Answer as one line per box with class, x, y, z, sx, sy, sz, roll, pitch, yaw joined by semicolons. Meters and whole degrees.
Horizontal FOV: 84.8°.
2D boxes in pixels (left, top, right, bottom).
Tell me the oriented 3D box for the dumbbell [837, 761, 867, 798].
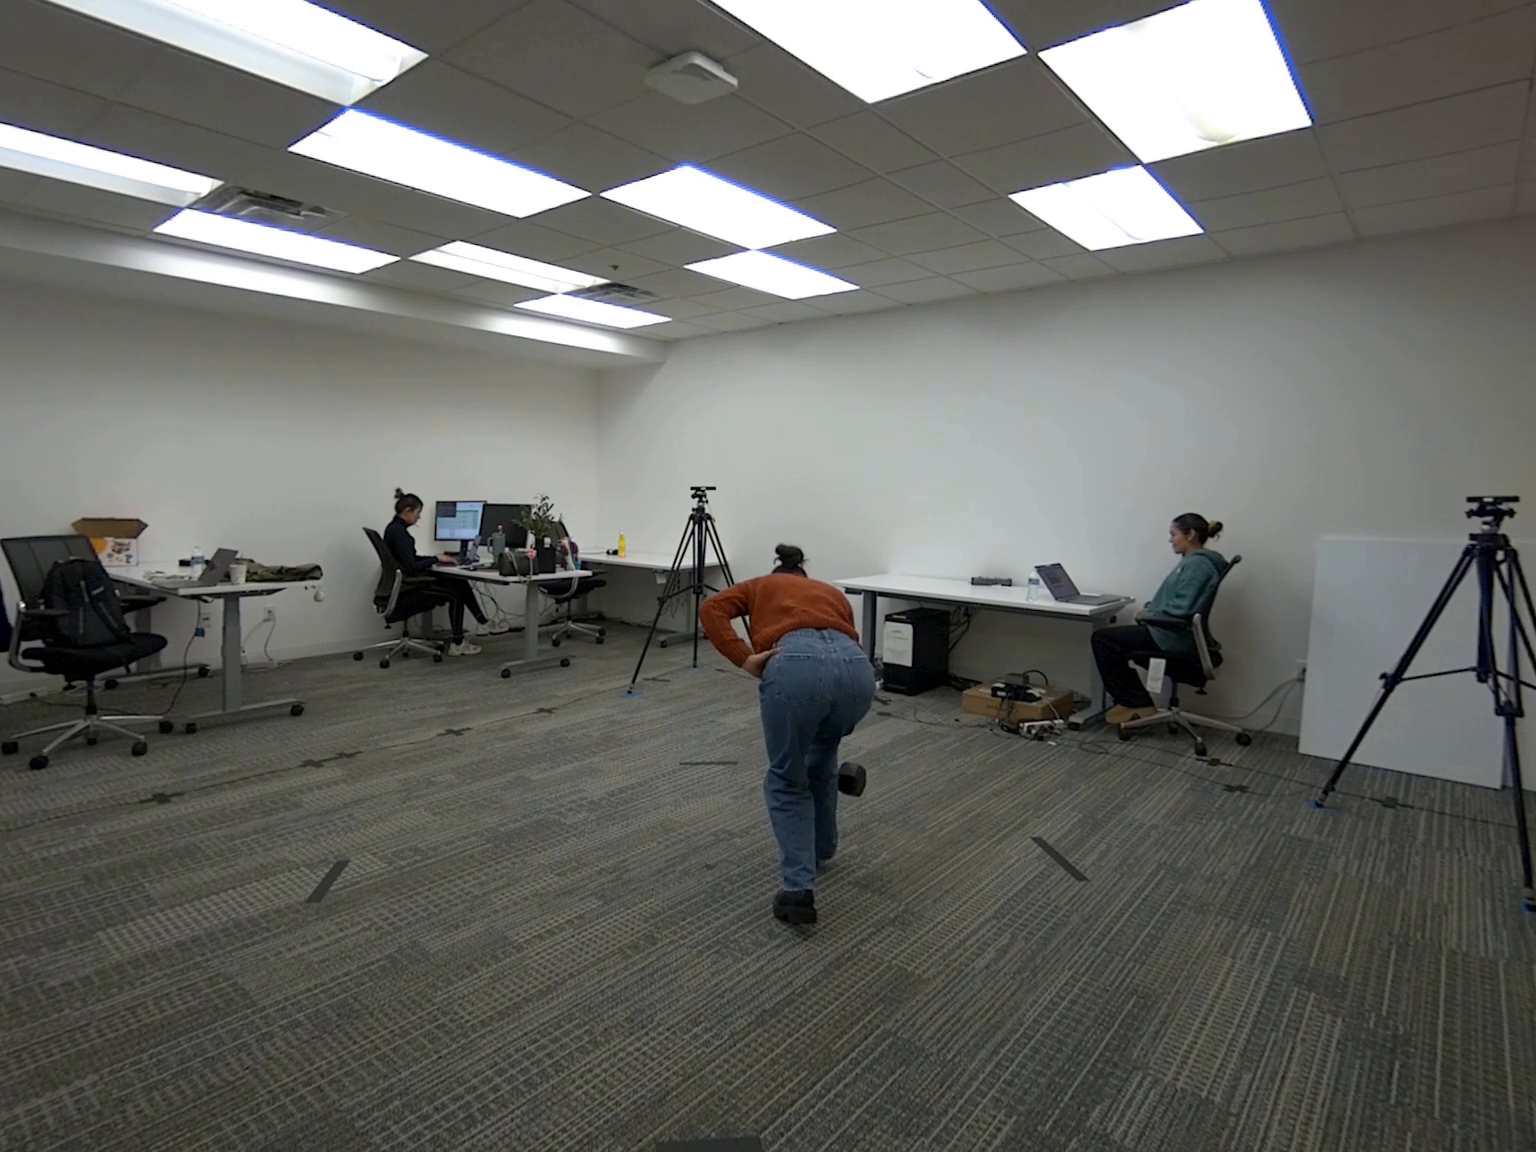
dumbbell;0.210;0.740;3.188;0.303;0.122;0.106;4;6;33
